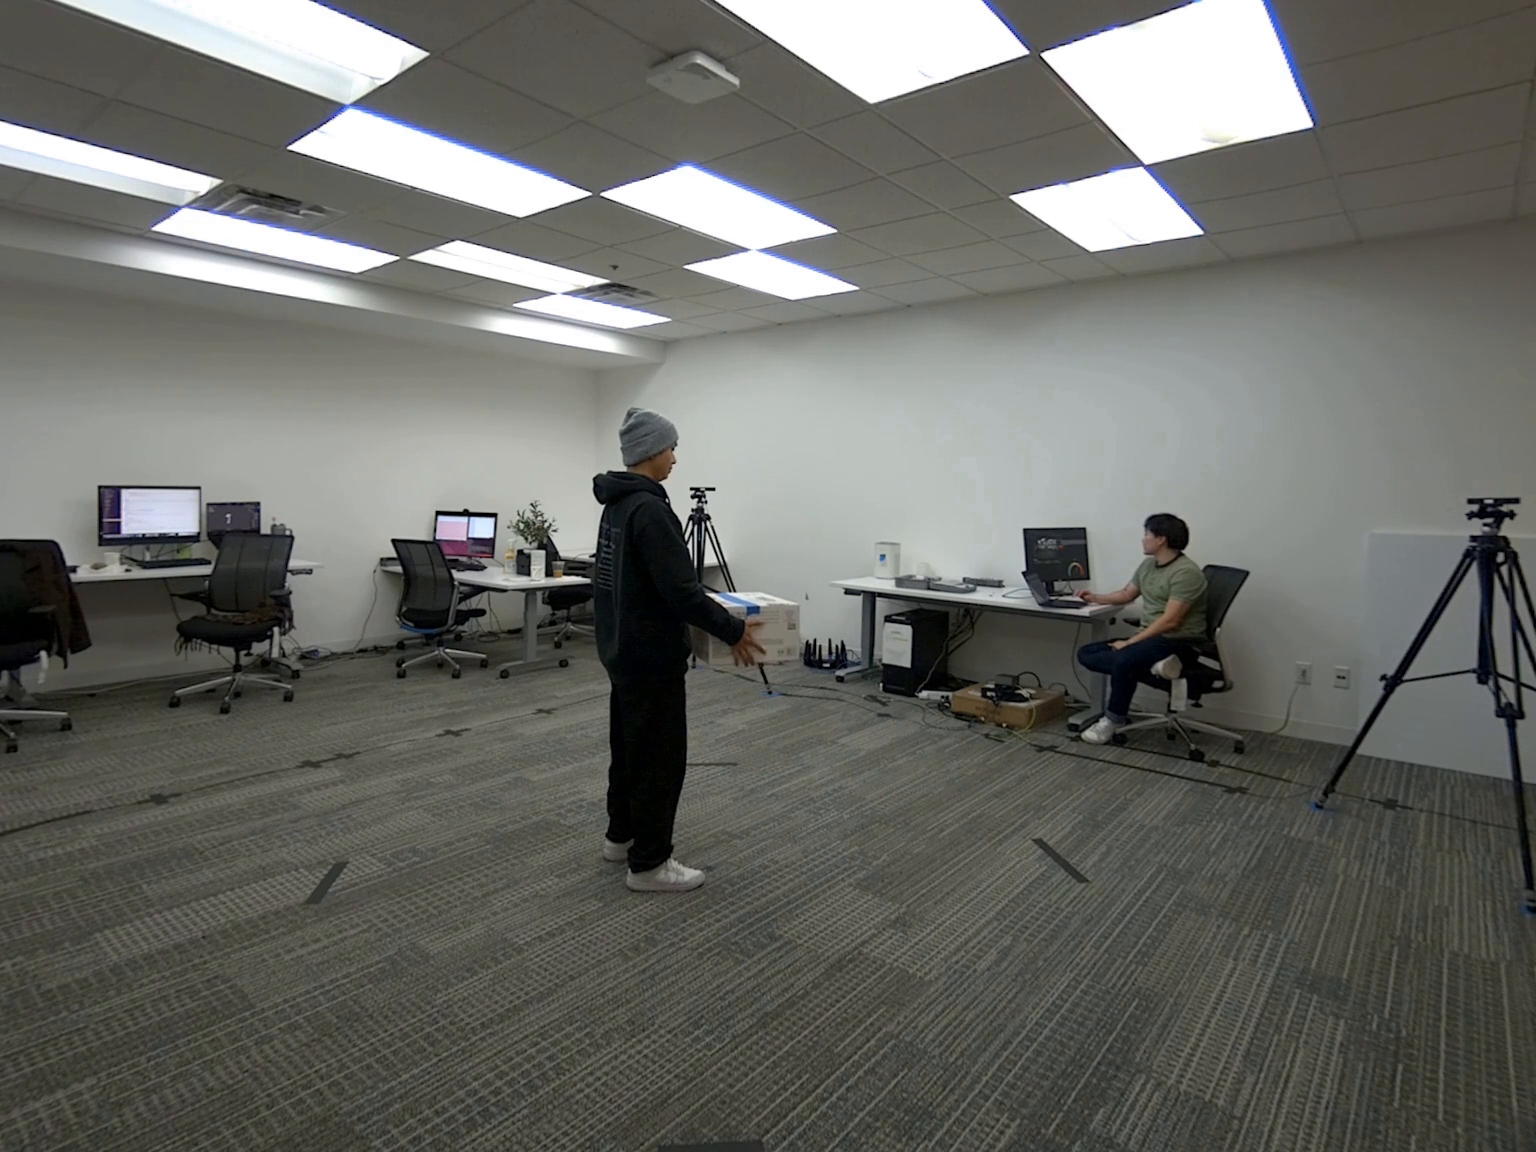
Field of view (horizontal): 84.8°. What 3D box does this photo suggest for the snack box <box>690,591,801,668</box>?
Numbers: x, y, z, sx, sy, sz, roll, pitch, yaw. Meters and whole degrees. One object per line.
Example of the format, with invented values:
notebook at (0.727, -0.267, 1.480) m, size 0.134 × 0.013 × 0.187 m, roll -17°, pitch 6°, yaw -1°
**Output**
snack box at (-0.125, 0.189, 3.159) m, size 0.334 × 0.205 × 0.414 m, roll -2°, pitch 6°, yaw -20°
